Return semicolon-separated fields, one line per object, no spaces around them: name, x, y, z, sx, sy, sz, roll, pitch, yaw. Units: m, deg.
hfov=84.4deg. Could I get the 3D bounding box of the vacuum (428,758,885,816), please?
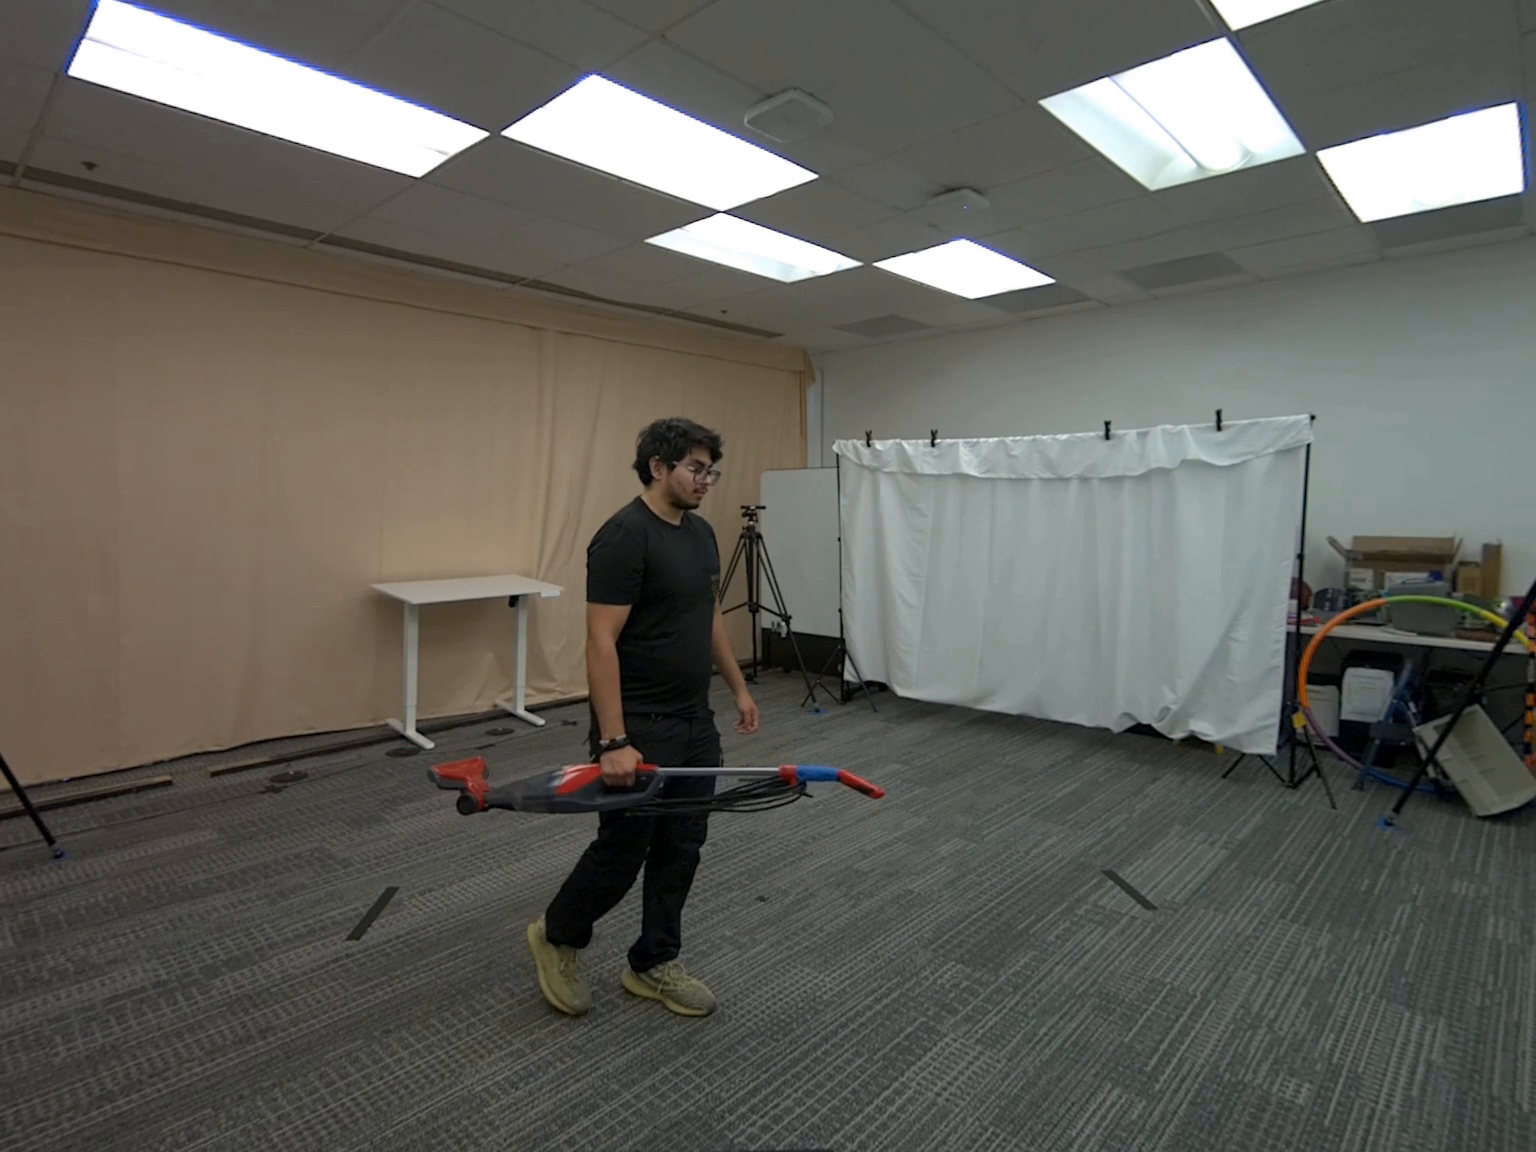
vacuum;-0.265;0.530;2.069;1.060;0.144;0.249;-2;-6;10
